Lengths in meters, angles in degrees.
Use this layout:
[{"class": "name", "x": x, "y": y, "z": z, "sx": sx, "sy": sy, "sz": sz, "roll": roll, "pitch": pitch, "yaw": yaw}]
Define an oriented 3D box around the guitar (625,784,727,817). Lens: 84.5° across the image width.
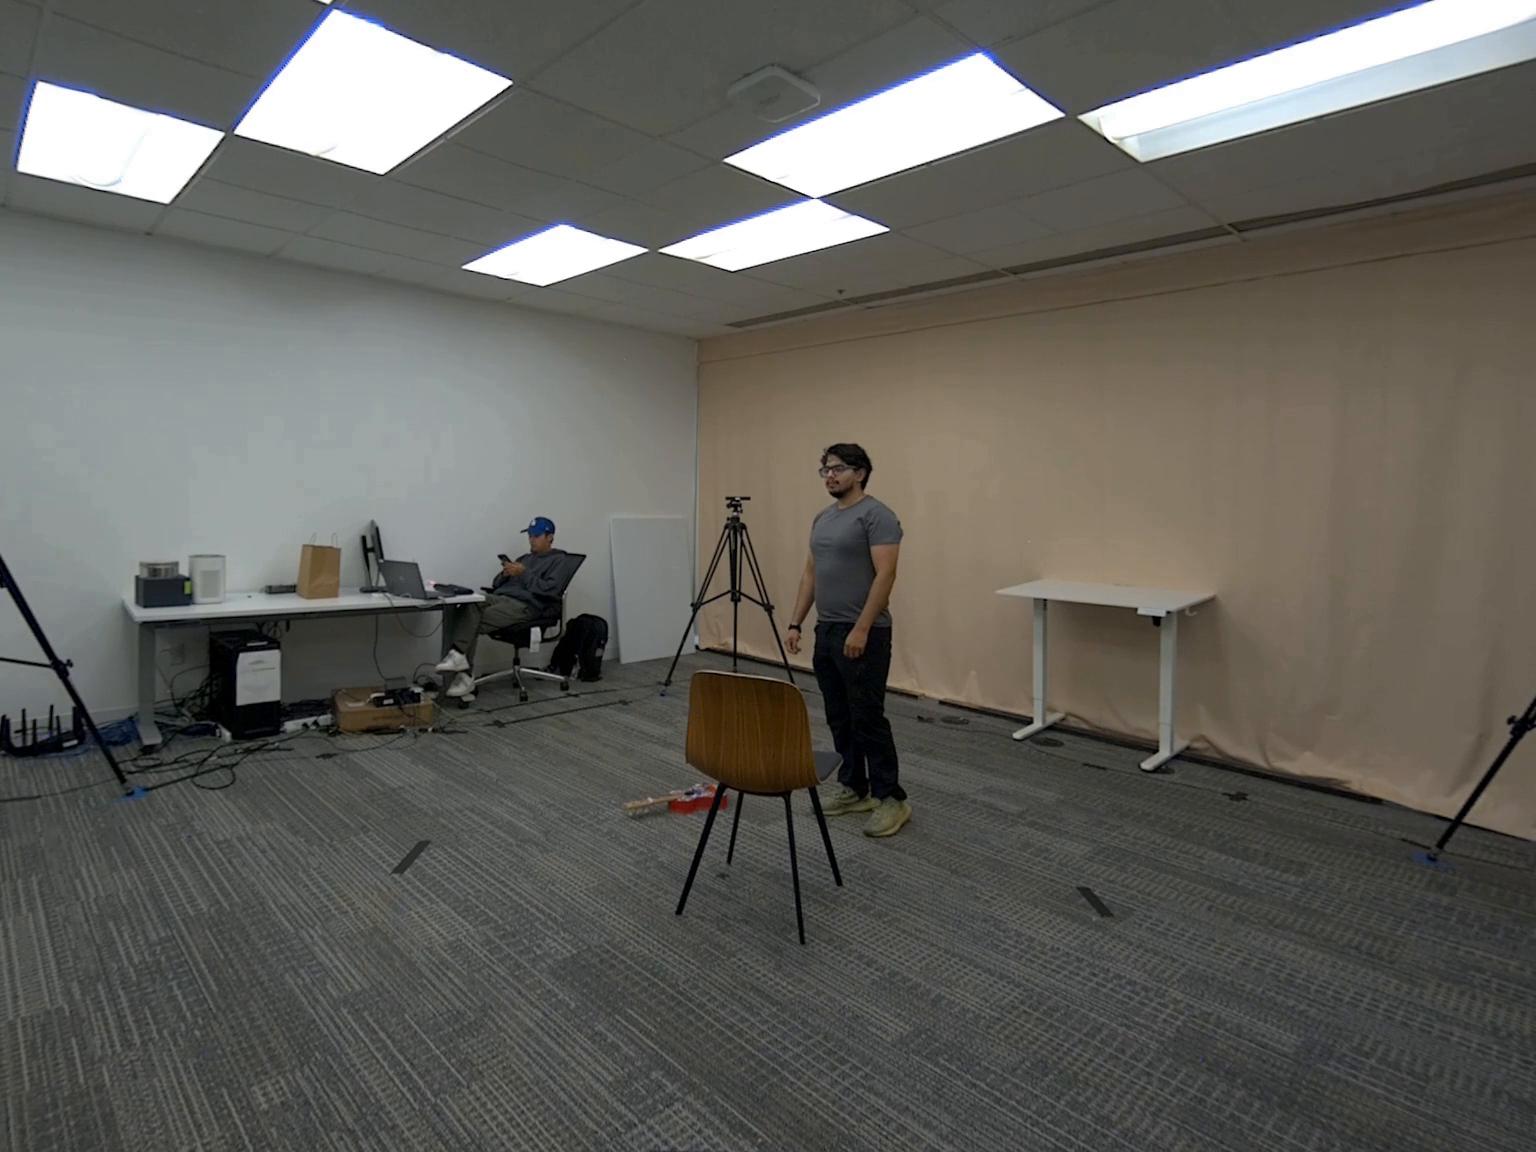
[{"class": "guitar", "x": -0.443, "y": 1.010, "z": 3.788, "sx": 0.489, "sy": 0.070, "sz": 0.197, "roll": 0, "pitch": 6, "yaw": -25}]
